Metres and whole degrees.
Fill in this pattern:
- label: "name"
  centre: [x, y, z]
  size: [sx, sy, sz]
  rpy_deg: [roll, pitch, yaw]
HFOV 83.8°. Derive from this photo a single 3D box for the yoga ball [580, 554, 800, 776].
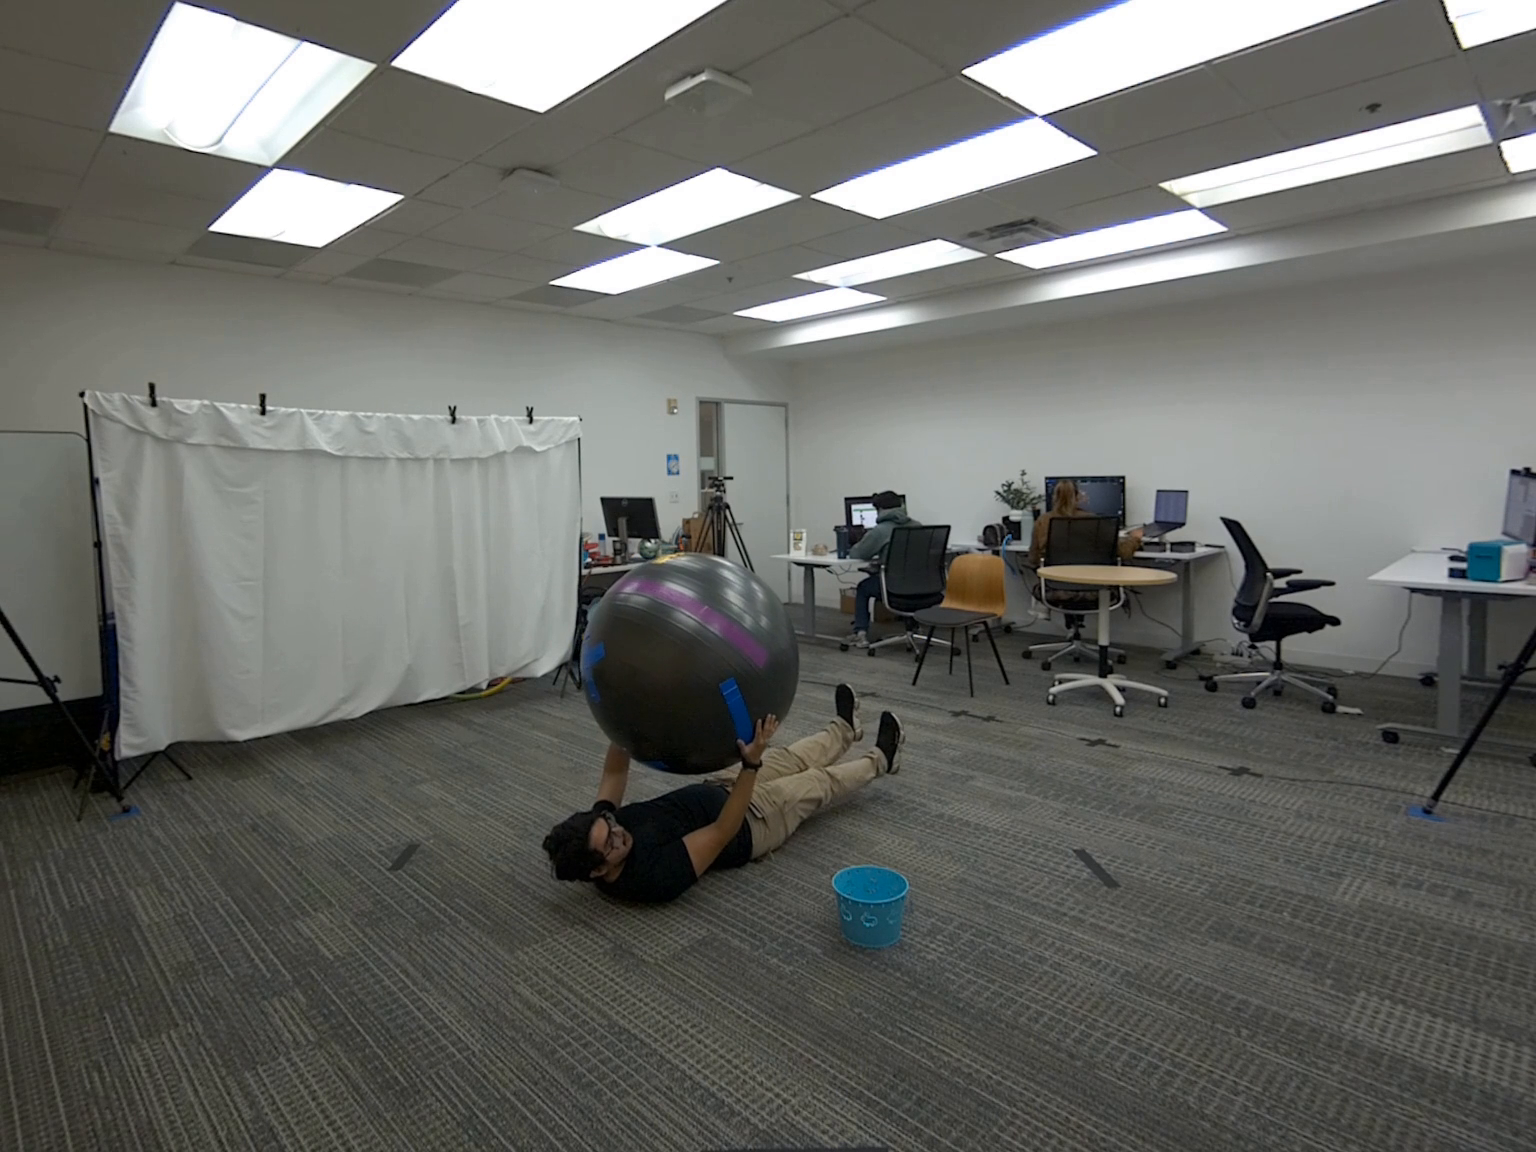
- label: "yoga ball"
  centre: [-0.269, 0.304, 2.977]
  size: [0.757, 0.755, 0.761]
  rpy_deg: [-1, 4, -2]
